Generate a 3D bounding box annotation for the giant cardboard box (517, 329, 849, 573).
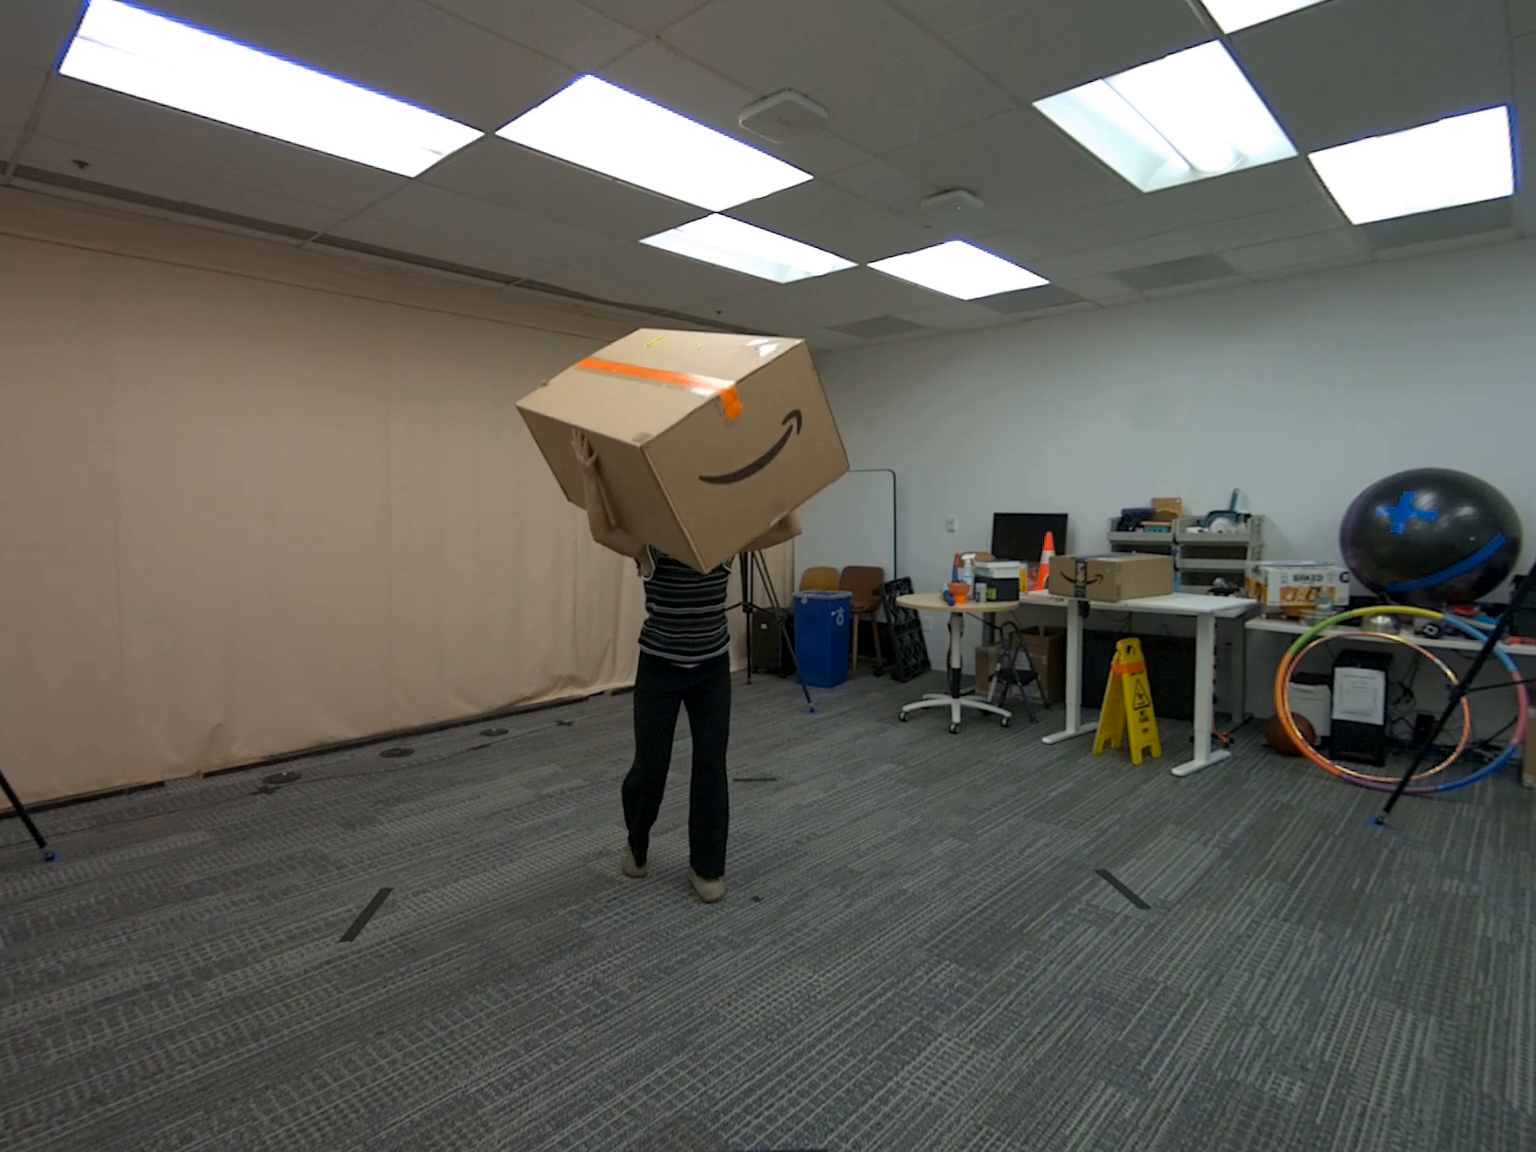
[{"bbox_3d":[-0.322,-0.456,2.743,0.572,0.415,1.062,-37,32,-20],"label":"giant cardboard box"}]
